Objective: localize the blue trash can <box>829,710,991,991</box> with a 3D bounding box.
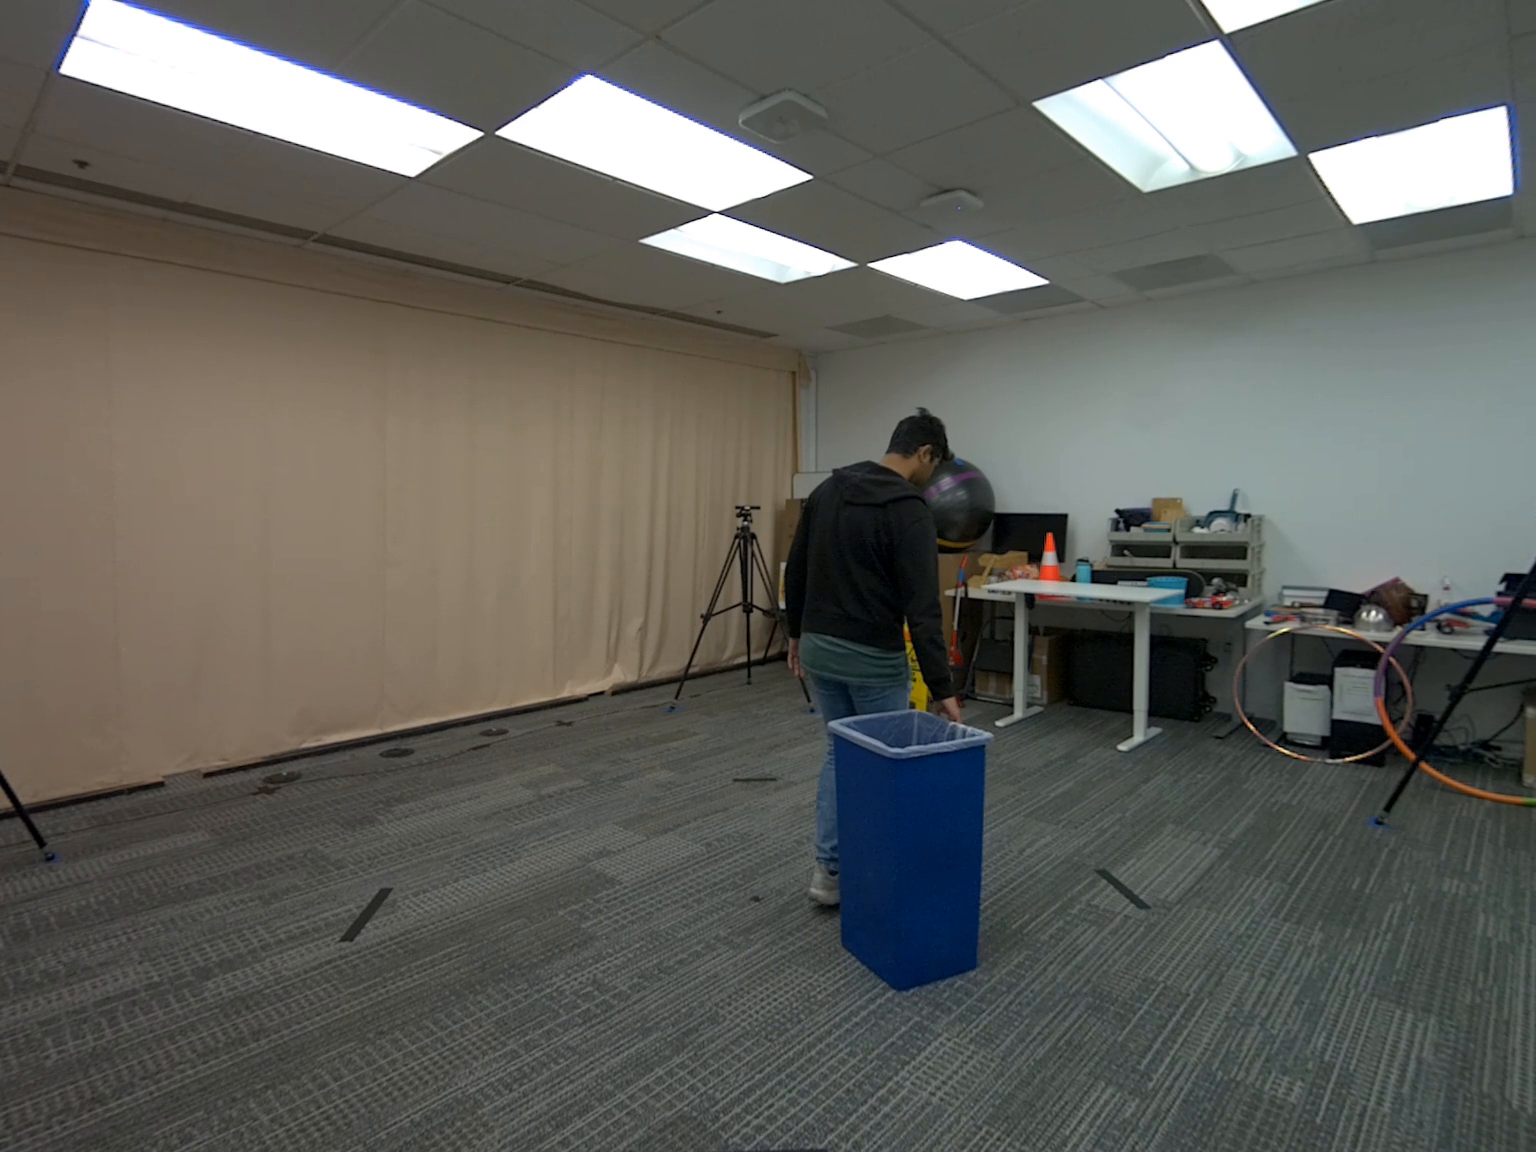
[{"bbox_3d":[0.422,0.814,2.587,0.368,0.712,0.385,-2,4,-29],"label":"blue trash can"}]
